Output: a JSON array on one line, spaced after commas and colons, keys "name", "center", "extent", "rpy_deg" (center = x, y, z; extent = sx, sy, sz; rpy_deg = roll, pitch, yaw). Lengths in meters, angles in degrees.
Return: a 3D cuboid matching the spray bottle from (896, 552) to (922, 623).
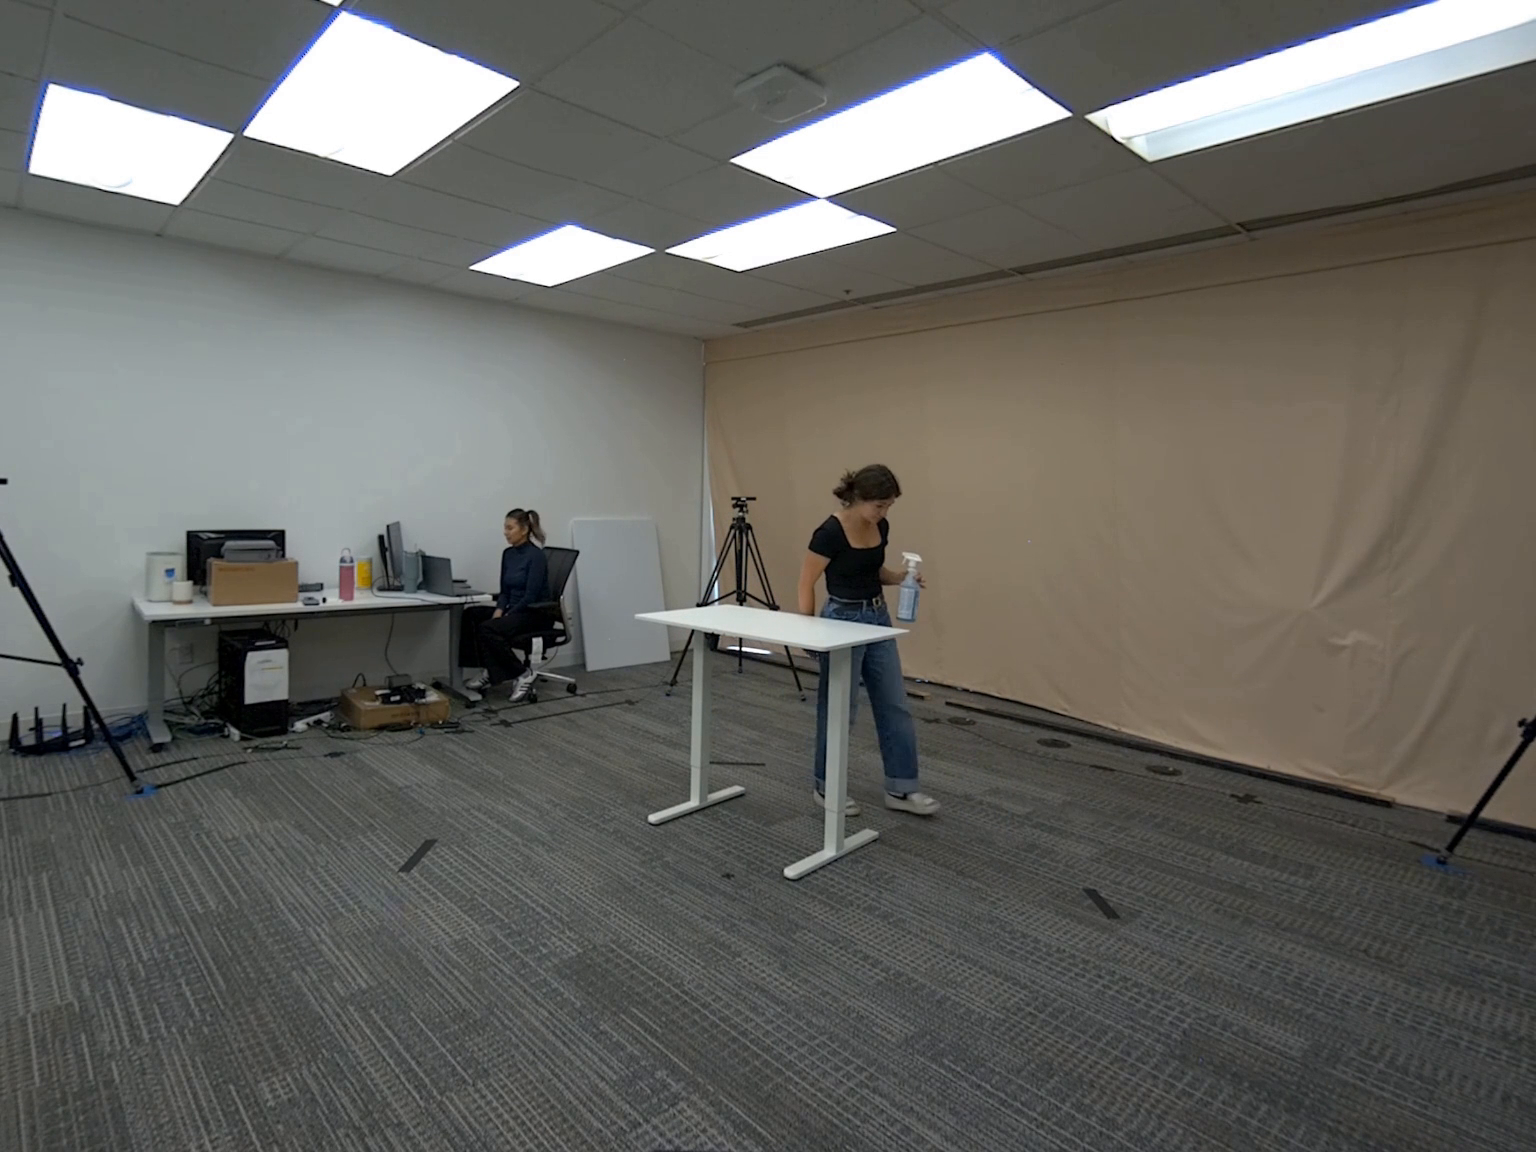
[{"name": "spray bottle", "center": [0.603, 0.046, 3.674], "extent": [0.085, 0.297, 0.092], "rpy_deg": [4, 3, -33]}]
